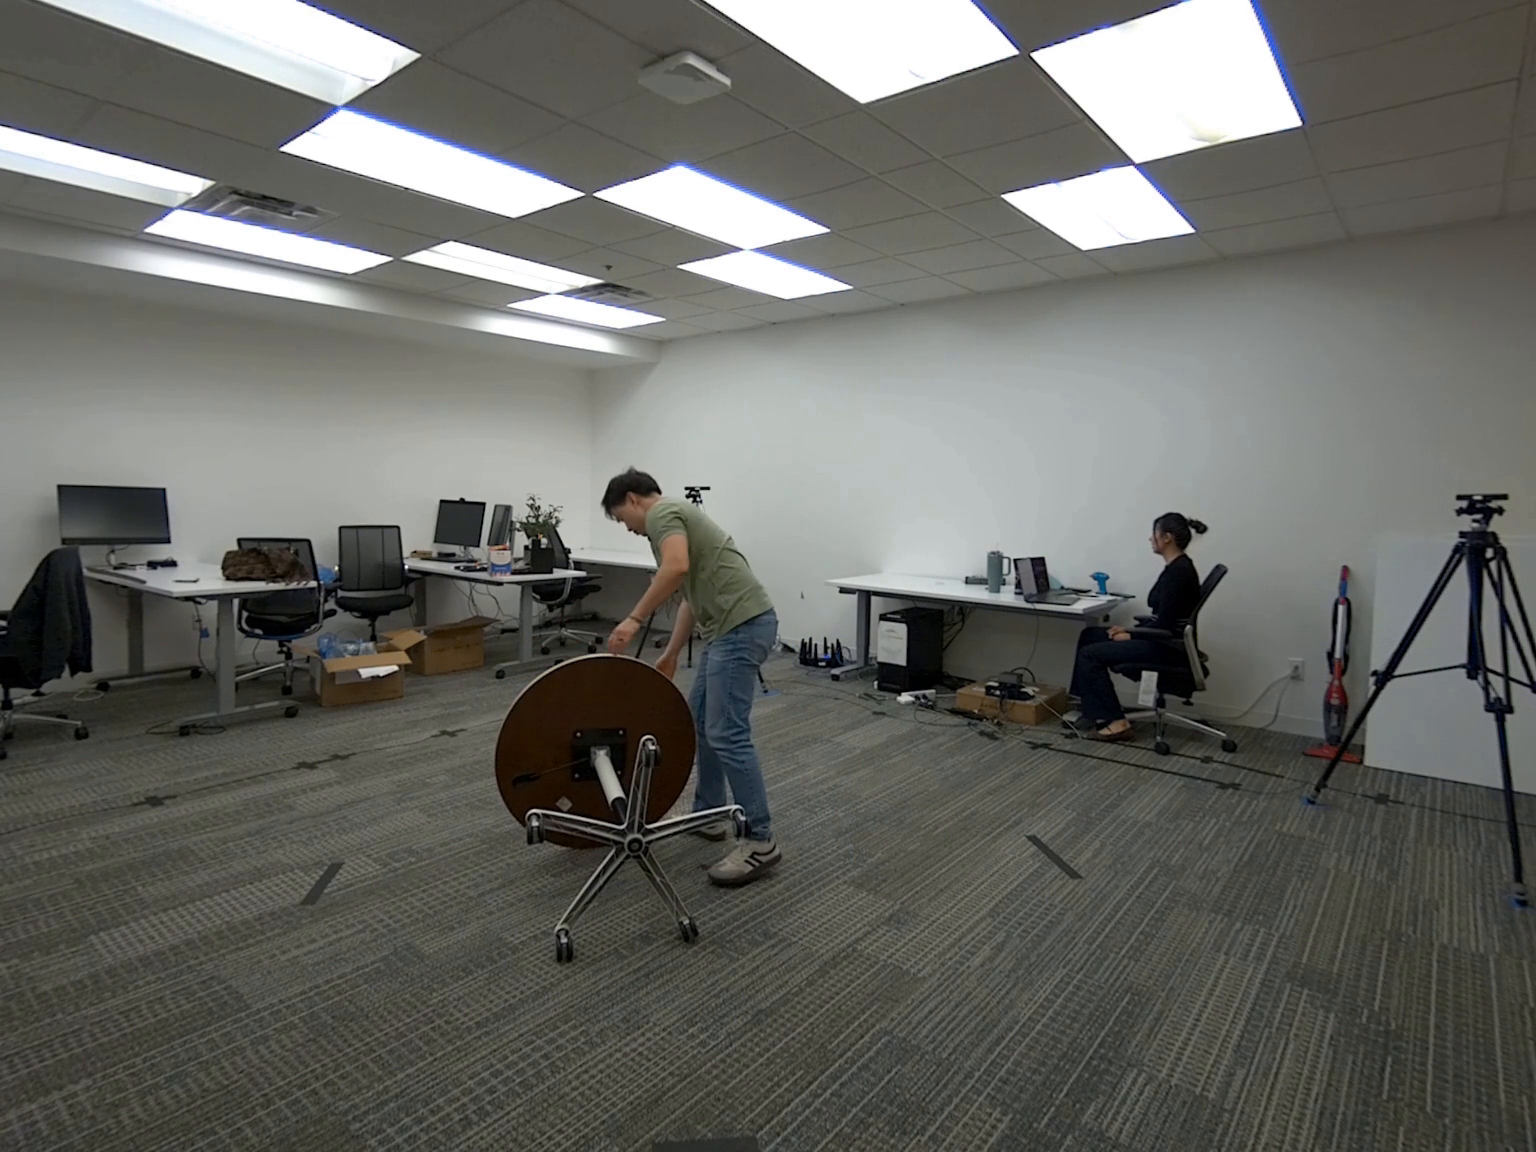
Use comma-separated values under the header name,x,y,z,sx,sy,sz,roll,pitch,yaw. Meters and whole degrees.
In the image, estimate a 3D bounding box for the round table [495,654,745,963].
name,x,y,z,sx,sy,sz,roll,pitch,yaw
round table,-0.525,0.750,2.860,0.750,0.757,0.816,-1,11,-19
